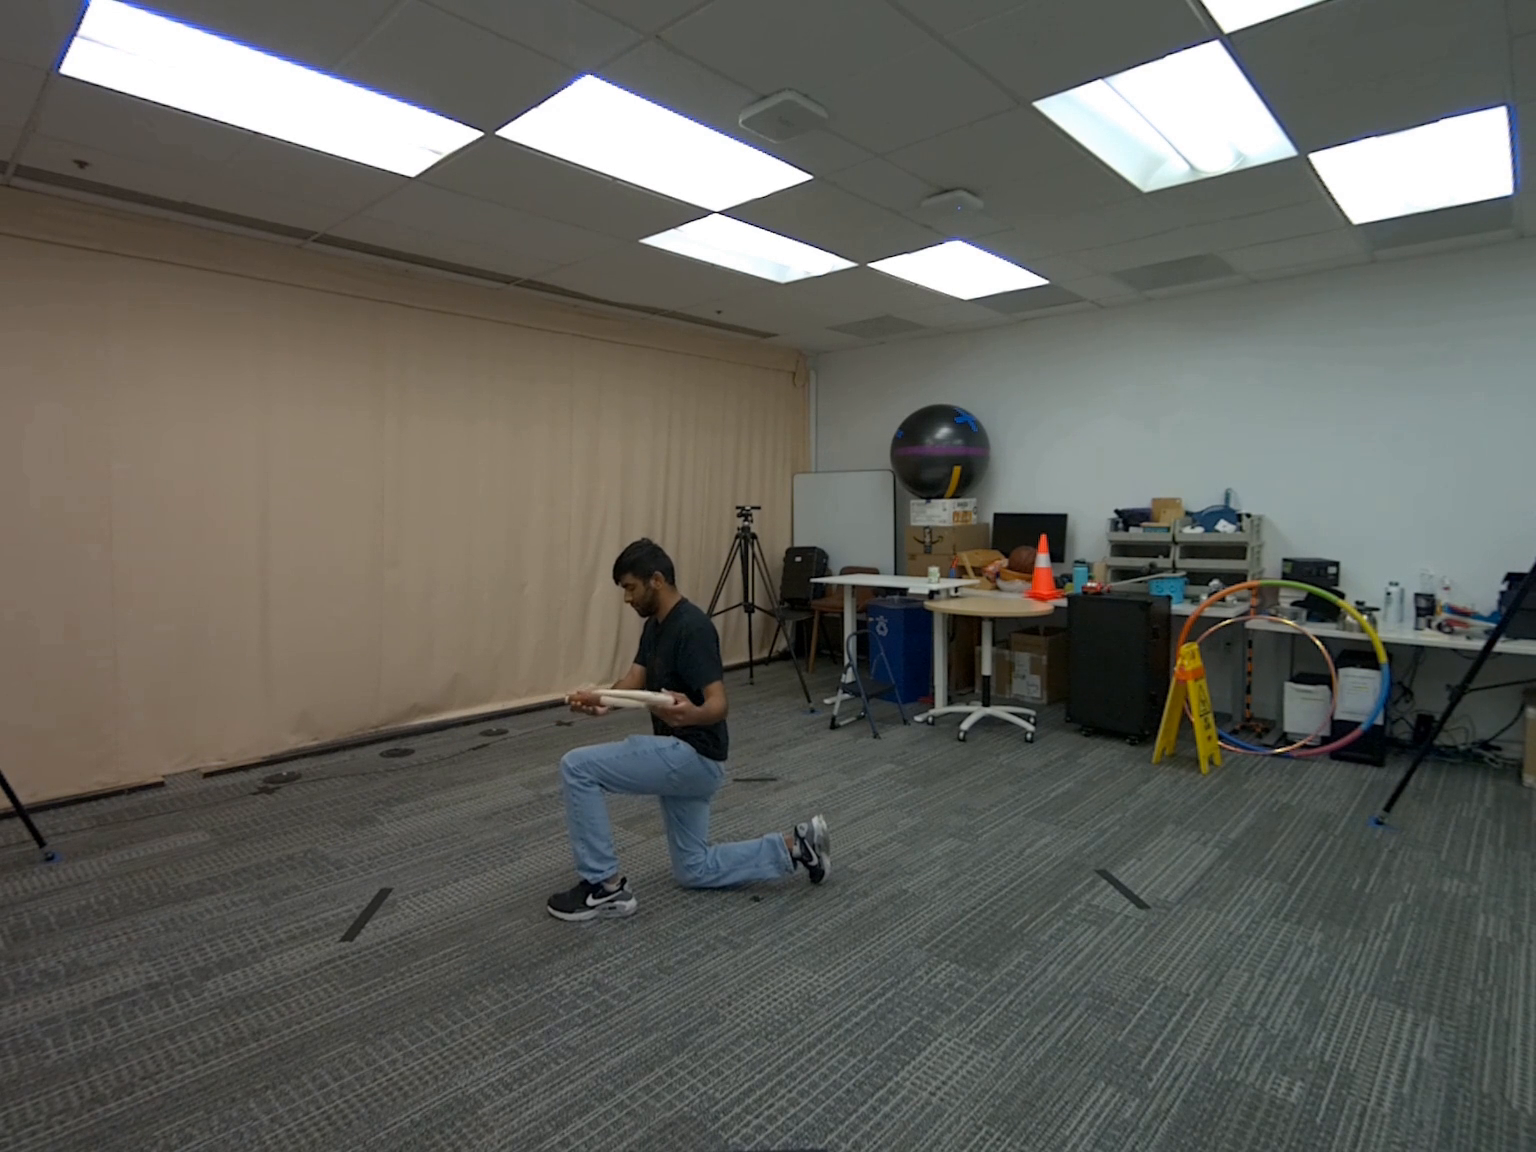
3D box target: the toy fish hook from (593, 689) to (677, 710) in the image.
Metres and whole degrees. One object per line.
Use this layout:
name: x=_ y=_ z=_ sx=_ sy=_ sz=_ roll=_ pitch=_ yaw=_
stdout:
toy fish hook: x=-0.511 y=0.370 z=2.564 sx=0.521 sy=0.049 sz=0.216 roll=-8 pitch=-23 yaw=42
